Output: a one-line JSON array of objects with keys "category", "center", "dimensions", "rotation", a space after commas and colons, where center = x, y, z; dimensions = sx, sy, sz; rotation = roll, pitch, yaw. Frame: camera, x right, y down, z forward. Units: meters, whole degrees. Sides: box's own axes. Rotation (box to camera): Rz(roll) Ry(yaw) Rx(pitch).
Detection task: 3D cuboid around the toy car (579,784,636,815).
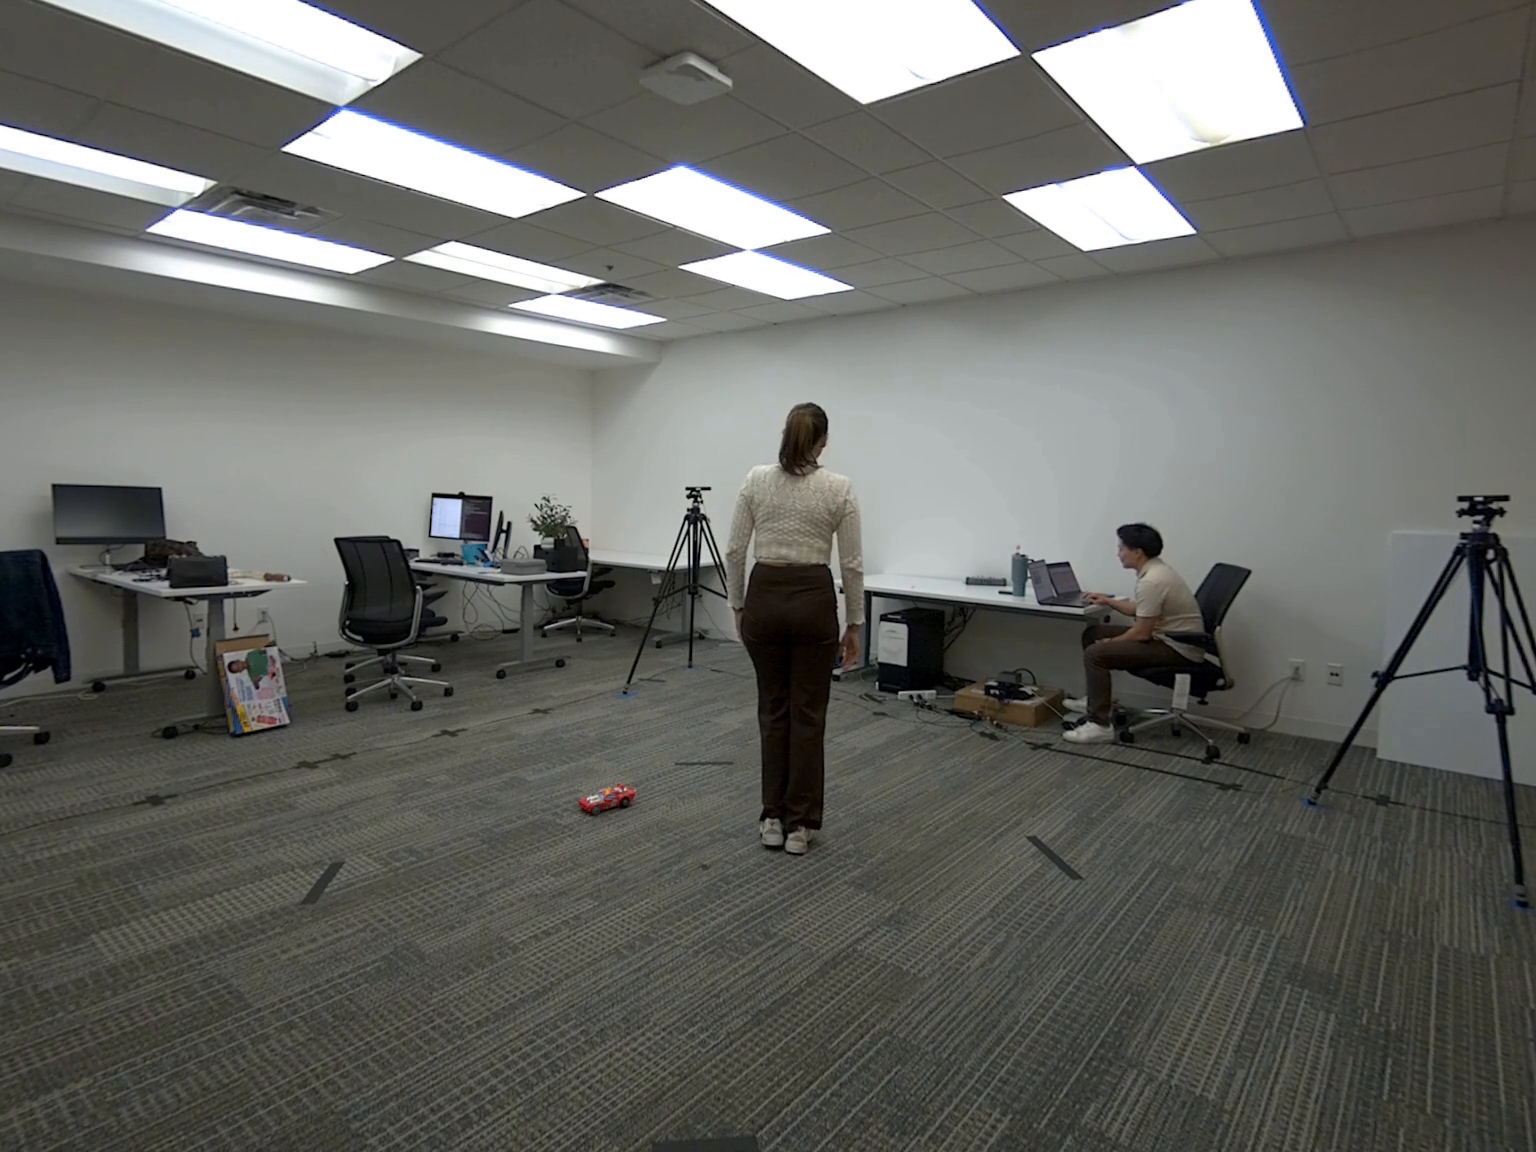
[{"category": "toy car", "center": [-0.707, 0.968, 3.699], "dimensions": [0.249, 0.082, 0.134], "rotation": [-18, 15, -36]}]
